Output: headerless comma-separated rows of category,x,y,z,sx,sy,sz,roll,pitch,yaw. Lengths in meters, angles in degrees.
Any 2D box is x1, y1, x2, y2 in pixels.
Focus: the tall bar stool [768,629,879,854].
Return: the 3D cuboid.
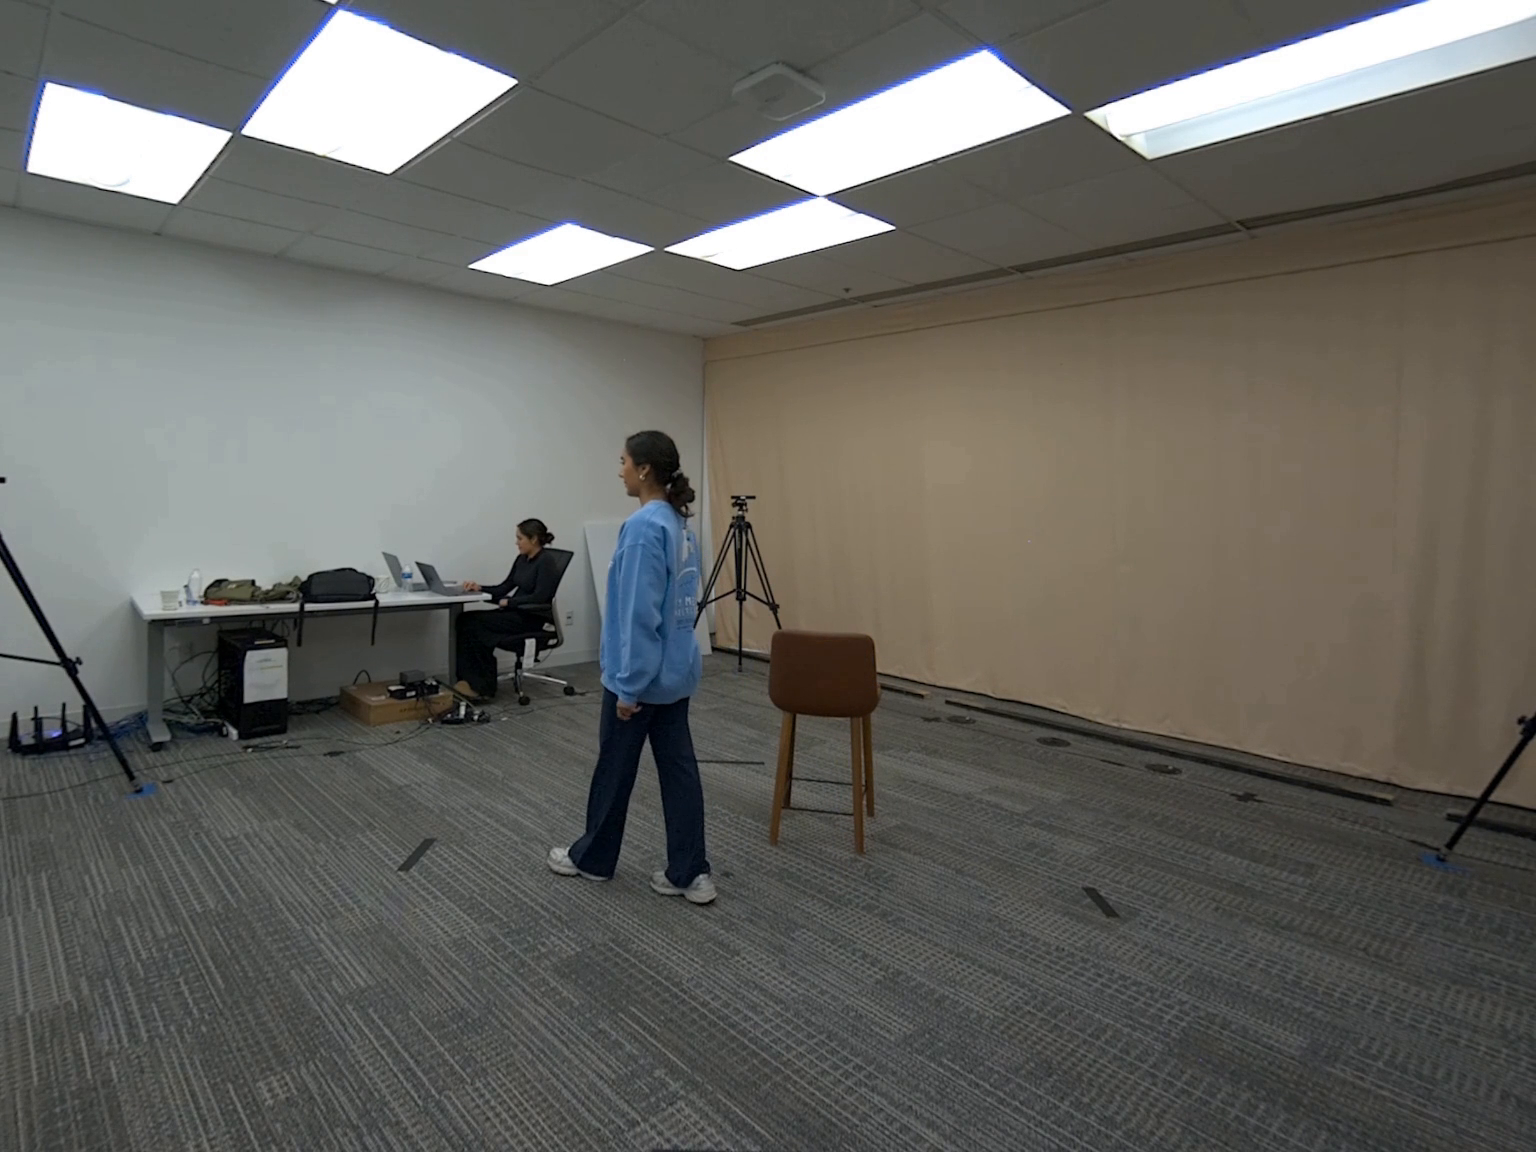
tall bar stool,0.233,0.640,3.543,0.462,0.887,0.464,2,4,13
